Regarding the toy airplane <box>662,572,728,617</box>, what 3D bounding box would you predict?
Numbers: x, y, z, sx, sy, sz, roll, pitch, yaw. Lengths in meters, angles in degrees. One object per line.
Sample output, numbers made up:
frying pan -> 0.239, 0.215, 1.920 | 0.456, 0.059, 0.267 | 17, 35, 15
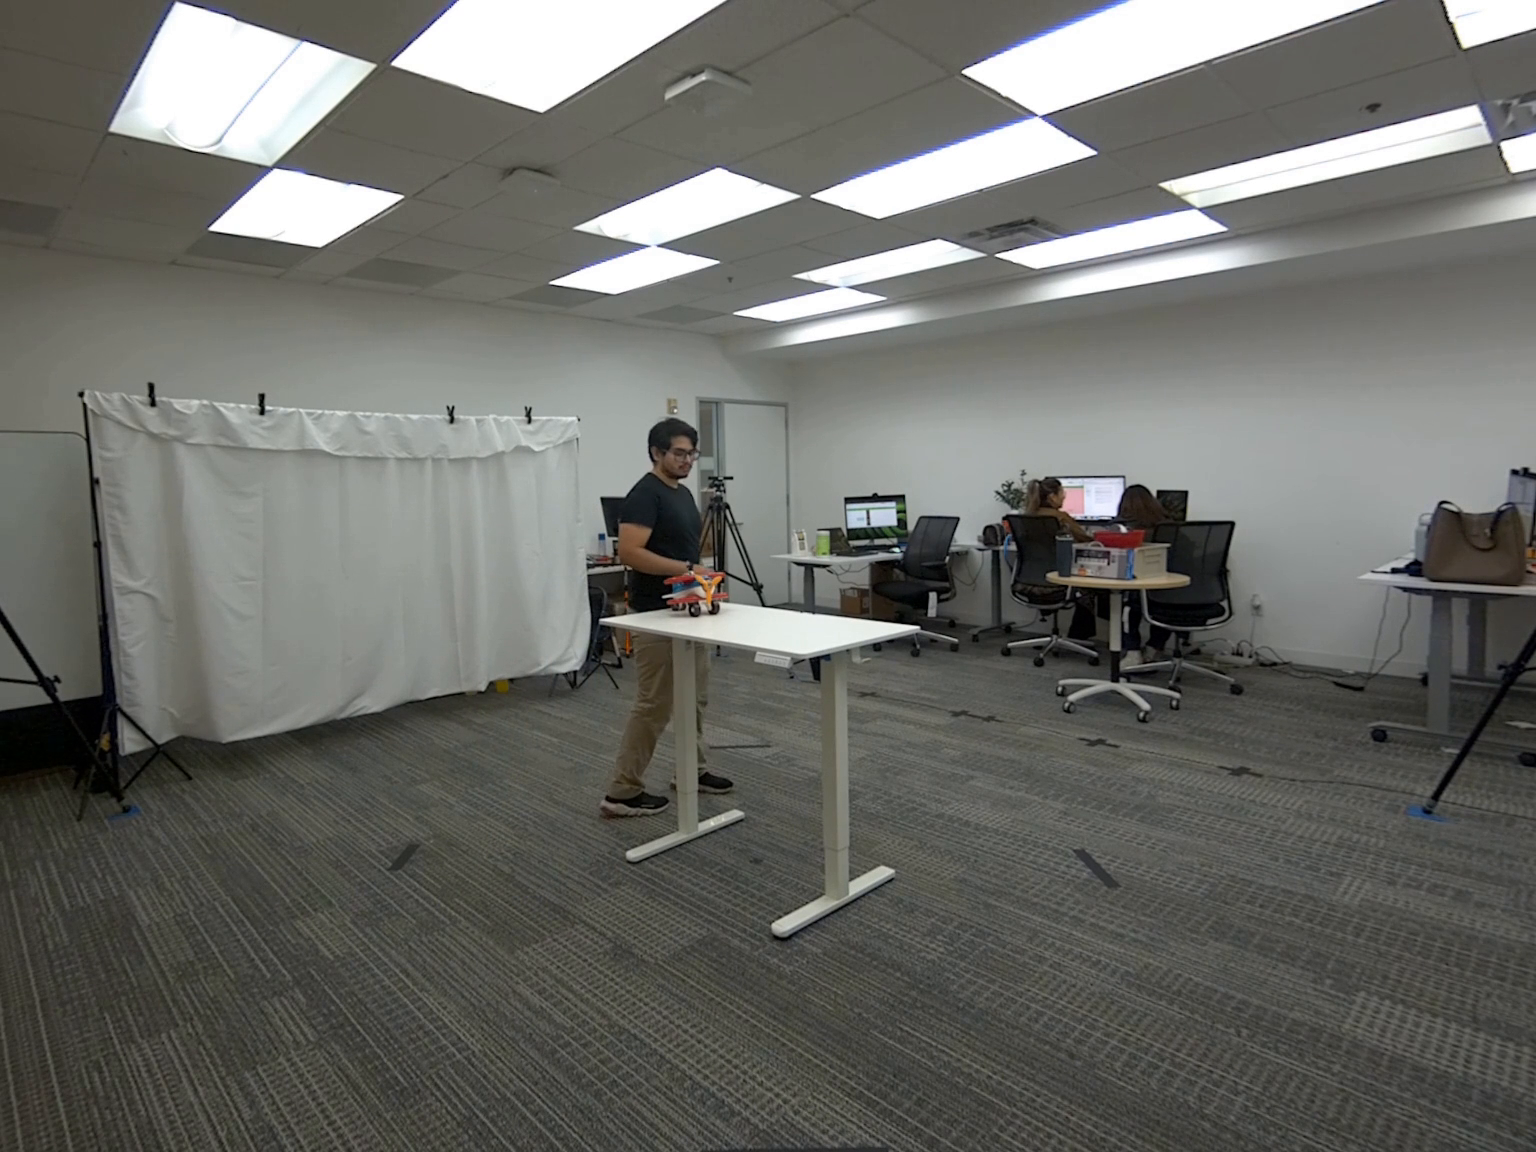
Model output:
toy airplane -> -0.299, 0.067, 3.250 | 0.265, 0.156, 0.246 | 2, 6, 25
